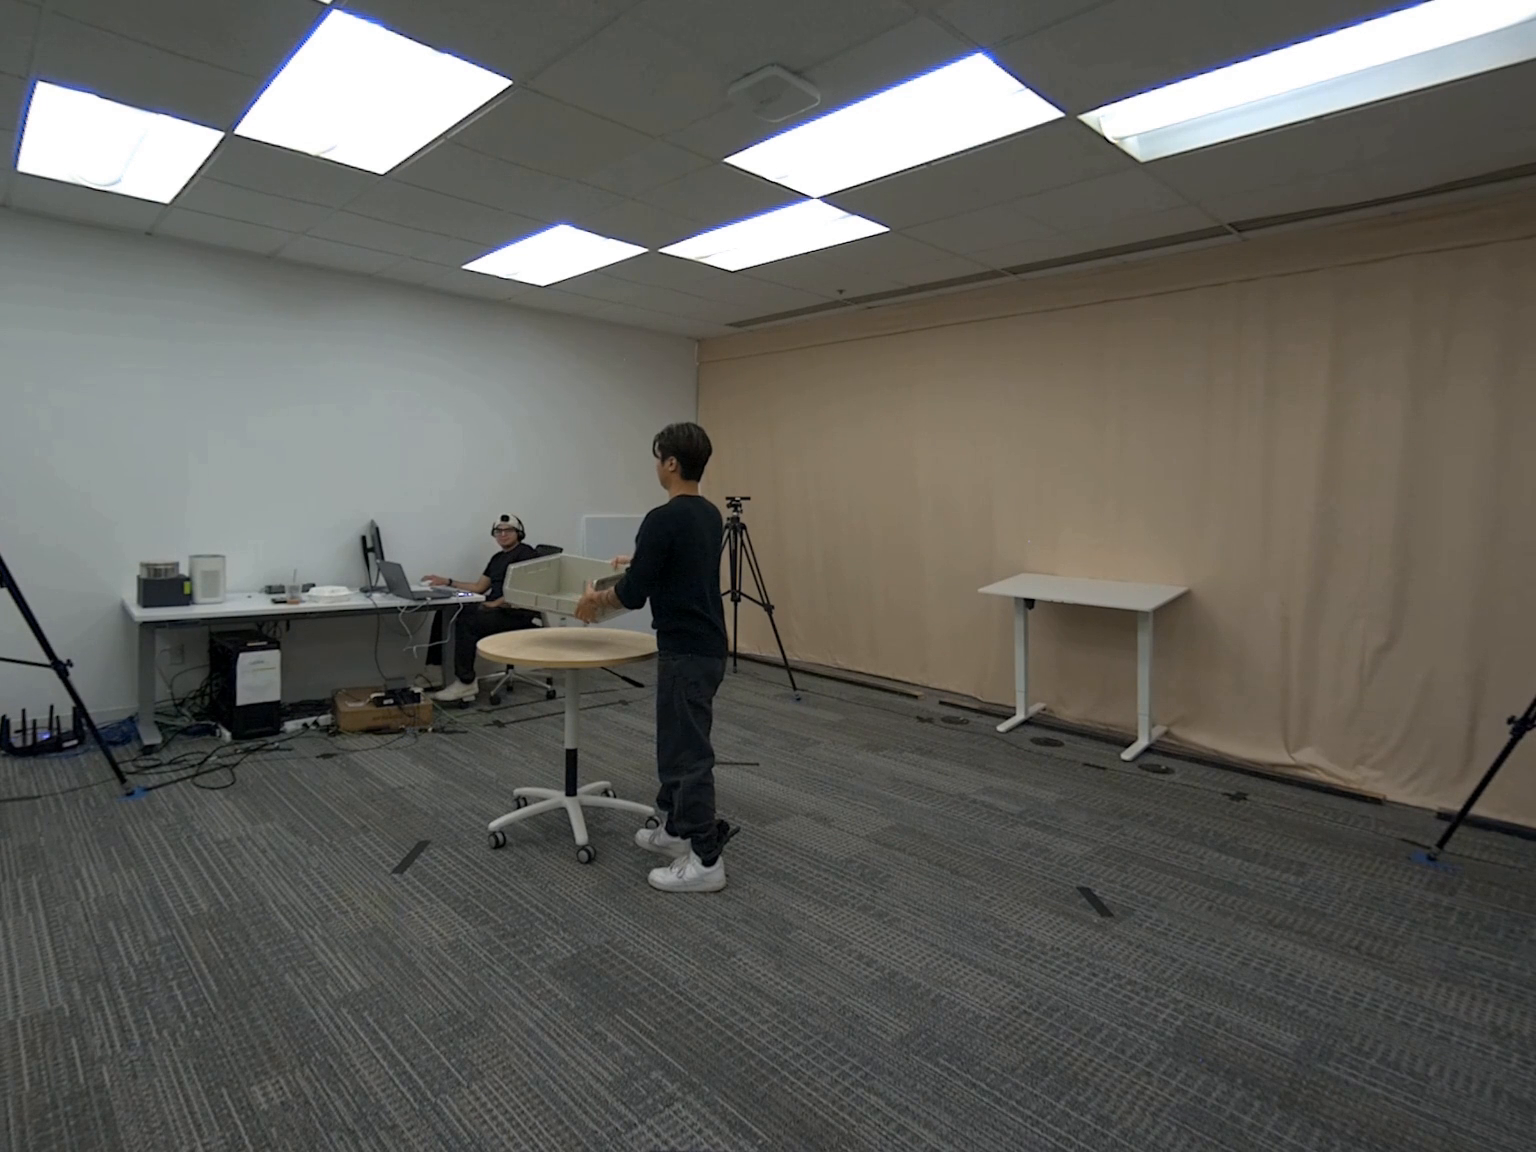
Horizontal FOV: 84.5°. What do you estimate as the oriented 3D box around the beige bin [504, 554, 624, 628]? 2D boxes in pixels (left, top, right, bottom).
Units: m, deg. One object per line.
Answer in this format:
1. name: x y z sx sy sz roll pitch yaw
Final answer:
1. beige bin: -0.805 0.051 3.458 0.430 0.188 0.373 8 10 21
